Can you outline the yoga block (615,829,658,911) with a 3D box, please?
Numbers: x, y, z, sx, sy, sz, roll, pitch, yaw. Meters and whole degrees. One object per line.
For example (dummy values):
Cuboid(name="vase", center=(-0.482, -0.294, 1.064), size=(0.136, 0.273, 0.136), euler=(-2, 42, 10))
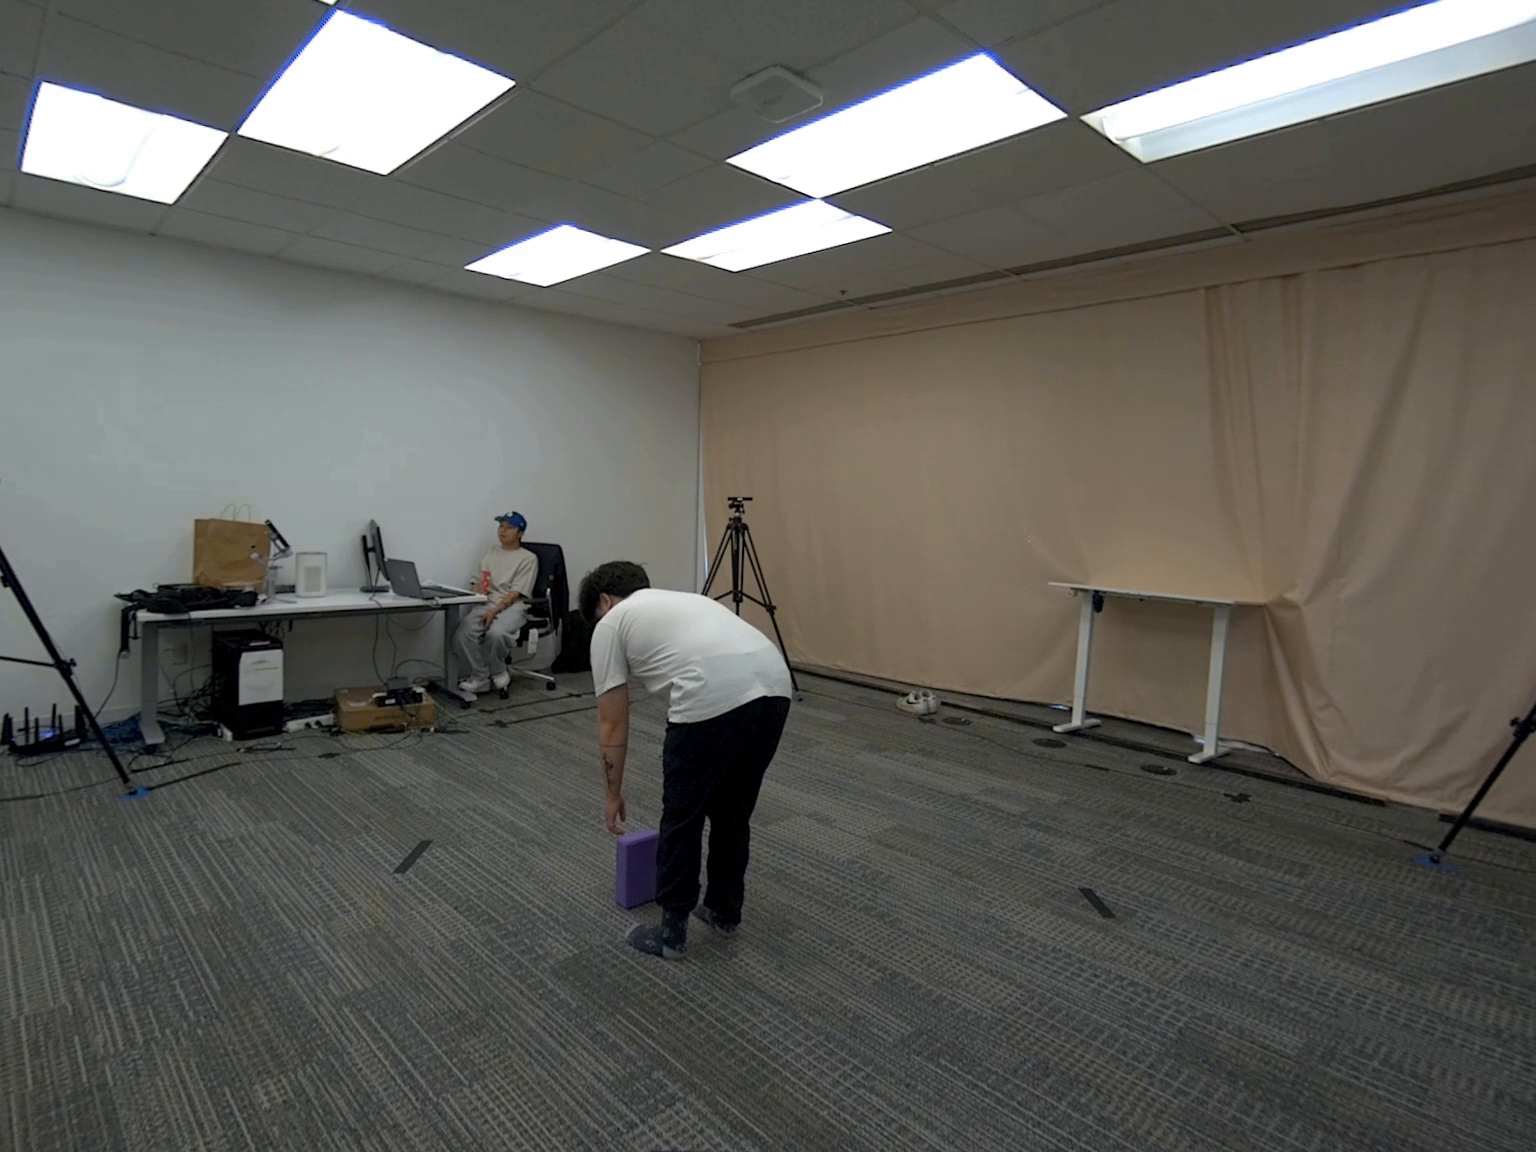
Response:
Cuboid(name="yoga block", center=(-0.451, 1.004, 2.892), size=(0.145, 0.228, 0.078), euler=(-3, 6, -44))
